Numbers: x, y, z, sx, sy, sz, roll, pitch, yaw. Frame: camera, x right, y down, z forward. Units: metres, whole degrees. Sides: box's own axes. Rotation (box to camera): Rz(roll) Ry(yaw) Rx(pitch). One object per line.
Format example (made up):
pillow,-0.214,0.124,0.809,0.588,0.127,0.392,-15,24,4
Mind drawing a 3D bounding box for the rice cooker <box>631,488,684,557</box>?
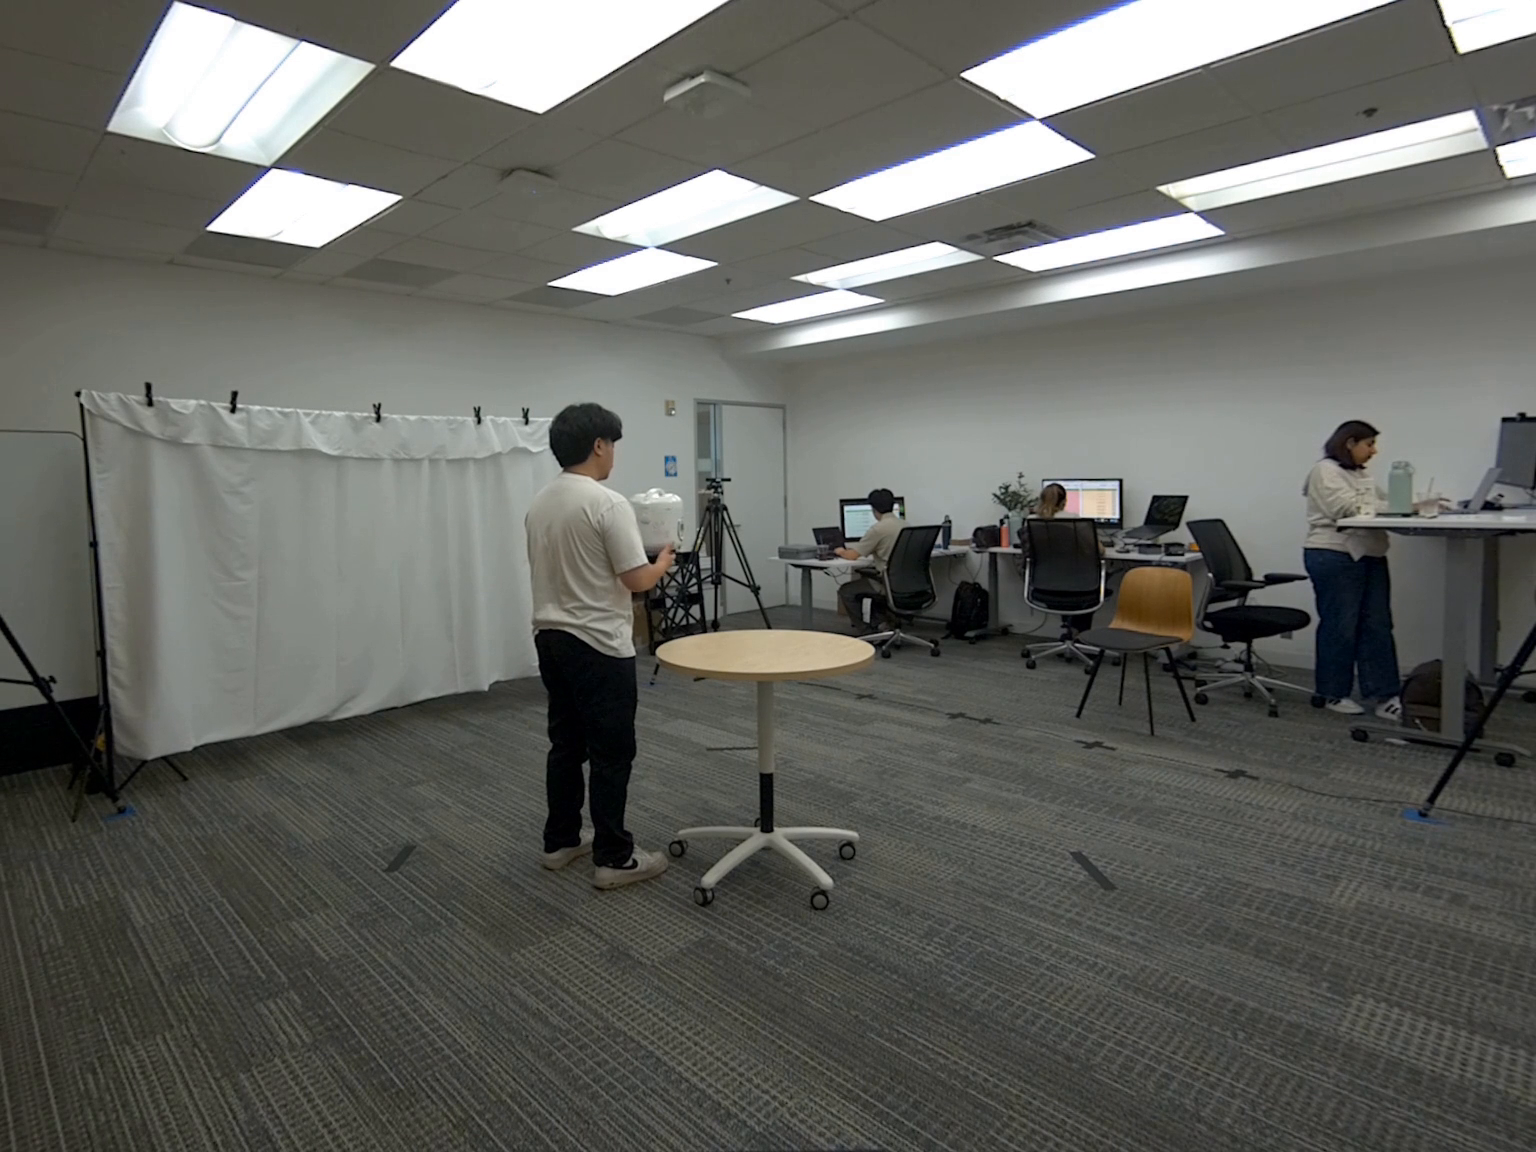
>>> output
rice cooker,-0.432,-0.220,3.283,0.221,0.231,0.218,2,8,17
